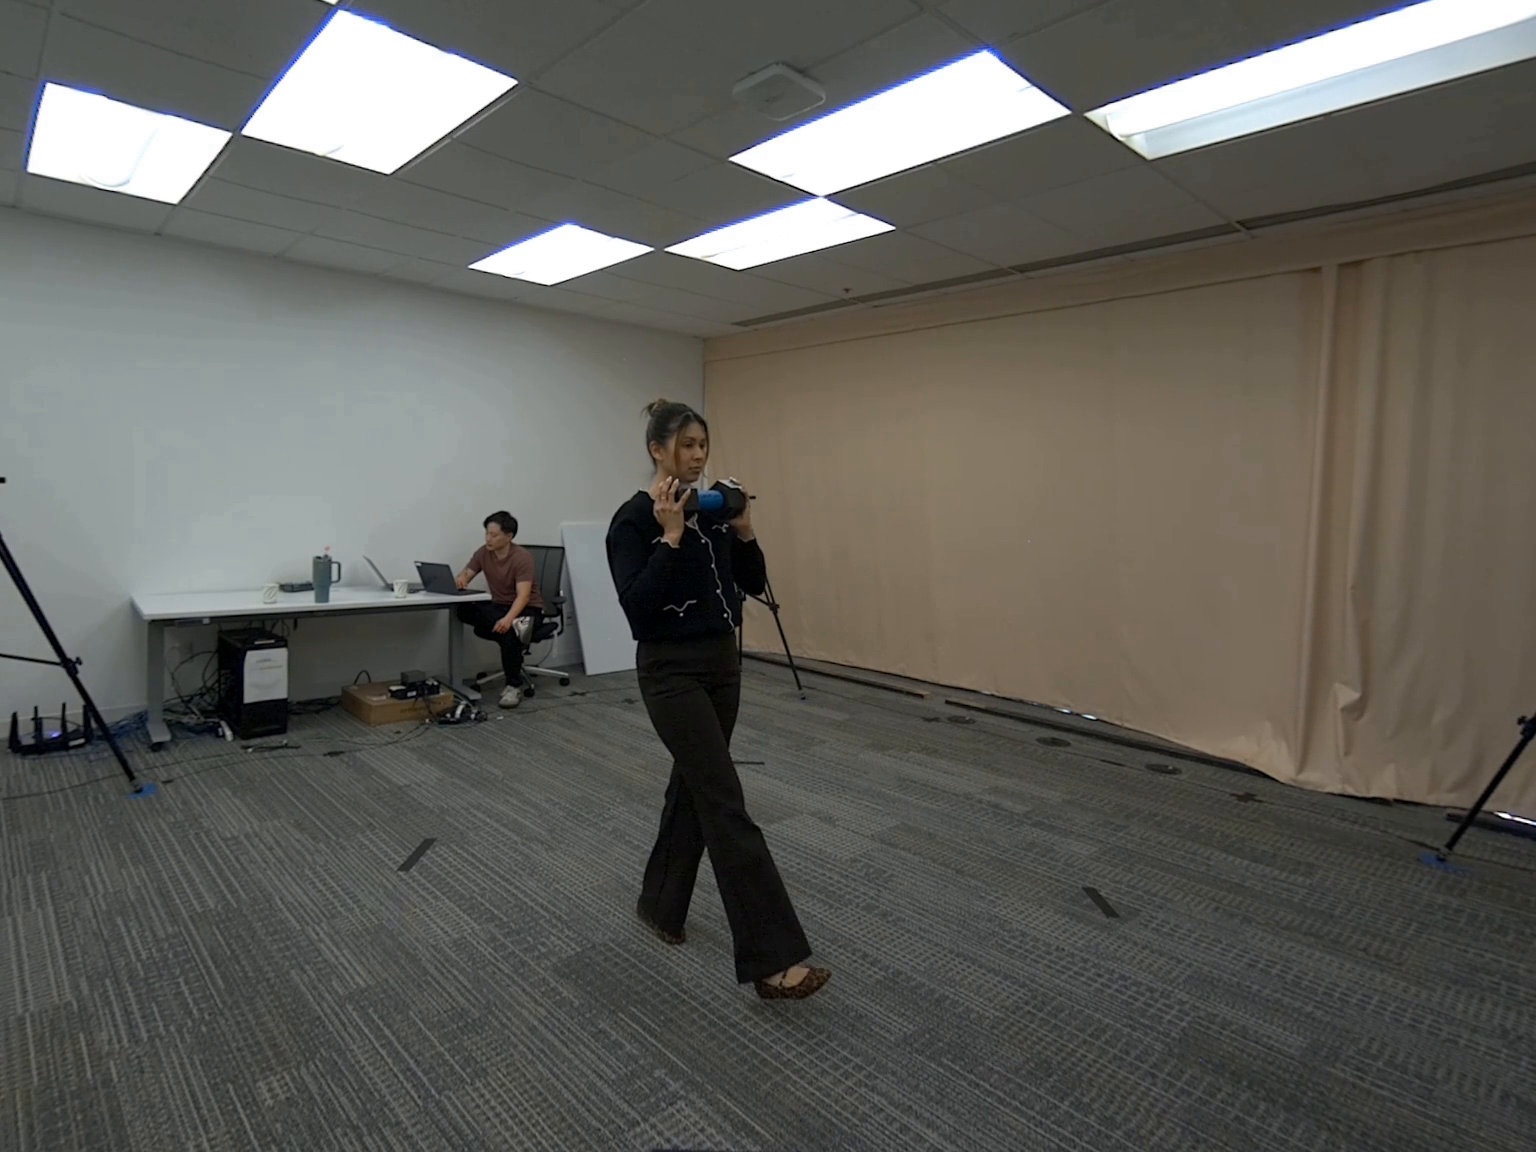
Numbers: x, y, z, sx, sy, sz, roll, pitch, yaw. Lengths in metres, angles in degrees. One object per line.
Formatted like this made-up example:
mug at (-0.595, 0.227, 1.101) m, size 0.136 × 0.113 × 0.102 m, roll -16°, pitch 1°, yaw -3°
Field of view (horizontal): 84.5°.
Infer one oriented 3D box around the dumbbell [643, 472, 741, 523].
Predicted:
dumbbell at (-0.234, -0.226, 2.487) m, size 0.123 × 0.111 × 0.288 m, roll -44°, pitch -19°, yaw 29°
